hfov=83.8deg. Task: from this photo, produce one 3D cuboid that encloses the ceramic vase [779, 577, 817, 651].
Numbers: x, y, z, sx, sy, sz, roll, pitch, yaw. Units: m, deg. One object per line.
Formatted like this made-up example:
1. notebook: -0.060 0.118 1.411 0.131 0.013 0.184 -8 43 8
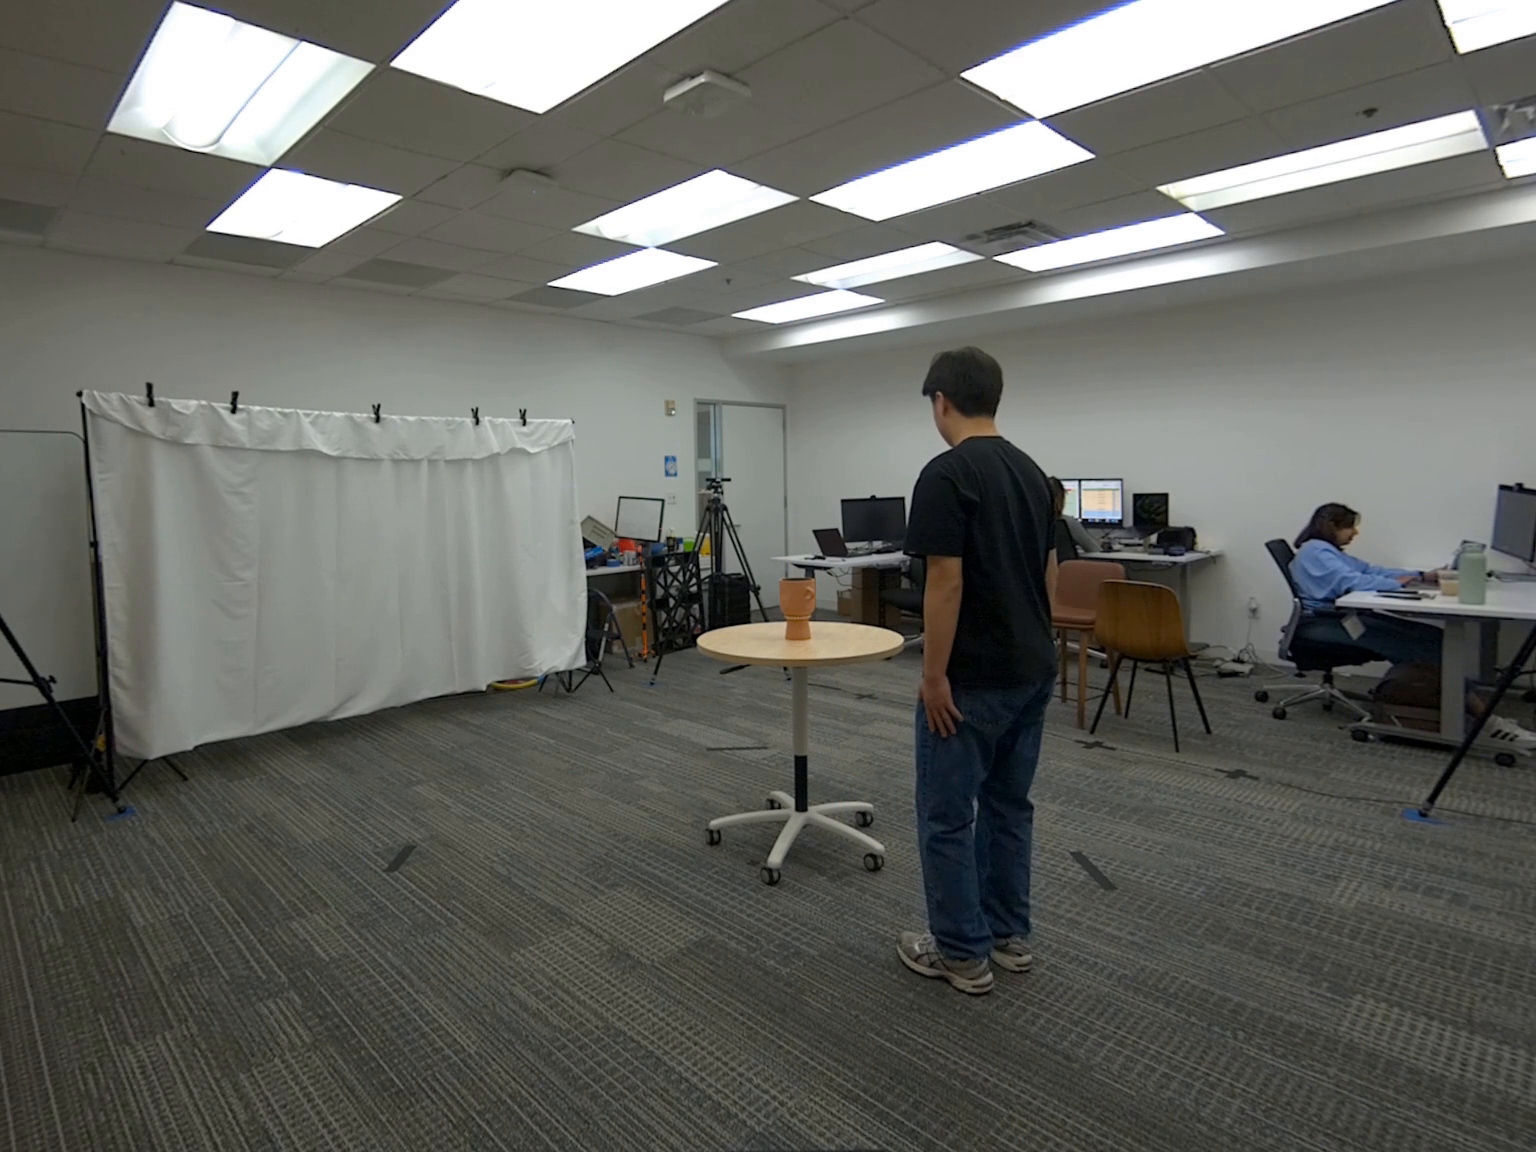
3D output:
1. ceramic vase: 0.114 0.125 3.192 0.135 0.219 0.158 -1 4 6
